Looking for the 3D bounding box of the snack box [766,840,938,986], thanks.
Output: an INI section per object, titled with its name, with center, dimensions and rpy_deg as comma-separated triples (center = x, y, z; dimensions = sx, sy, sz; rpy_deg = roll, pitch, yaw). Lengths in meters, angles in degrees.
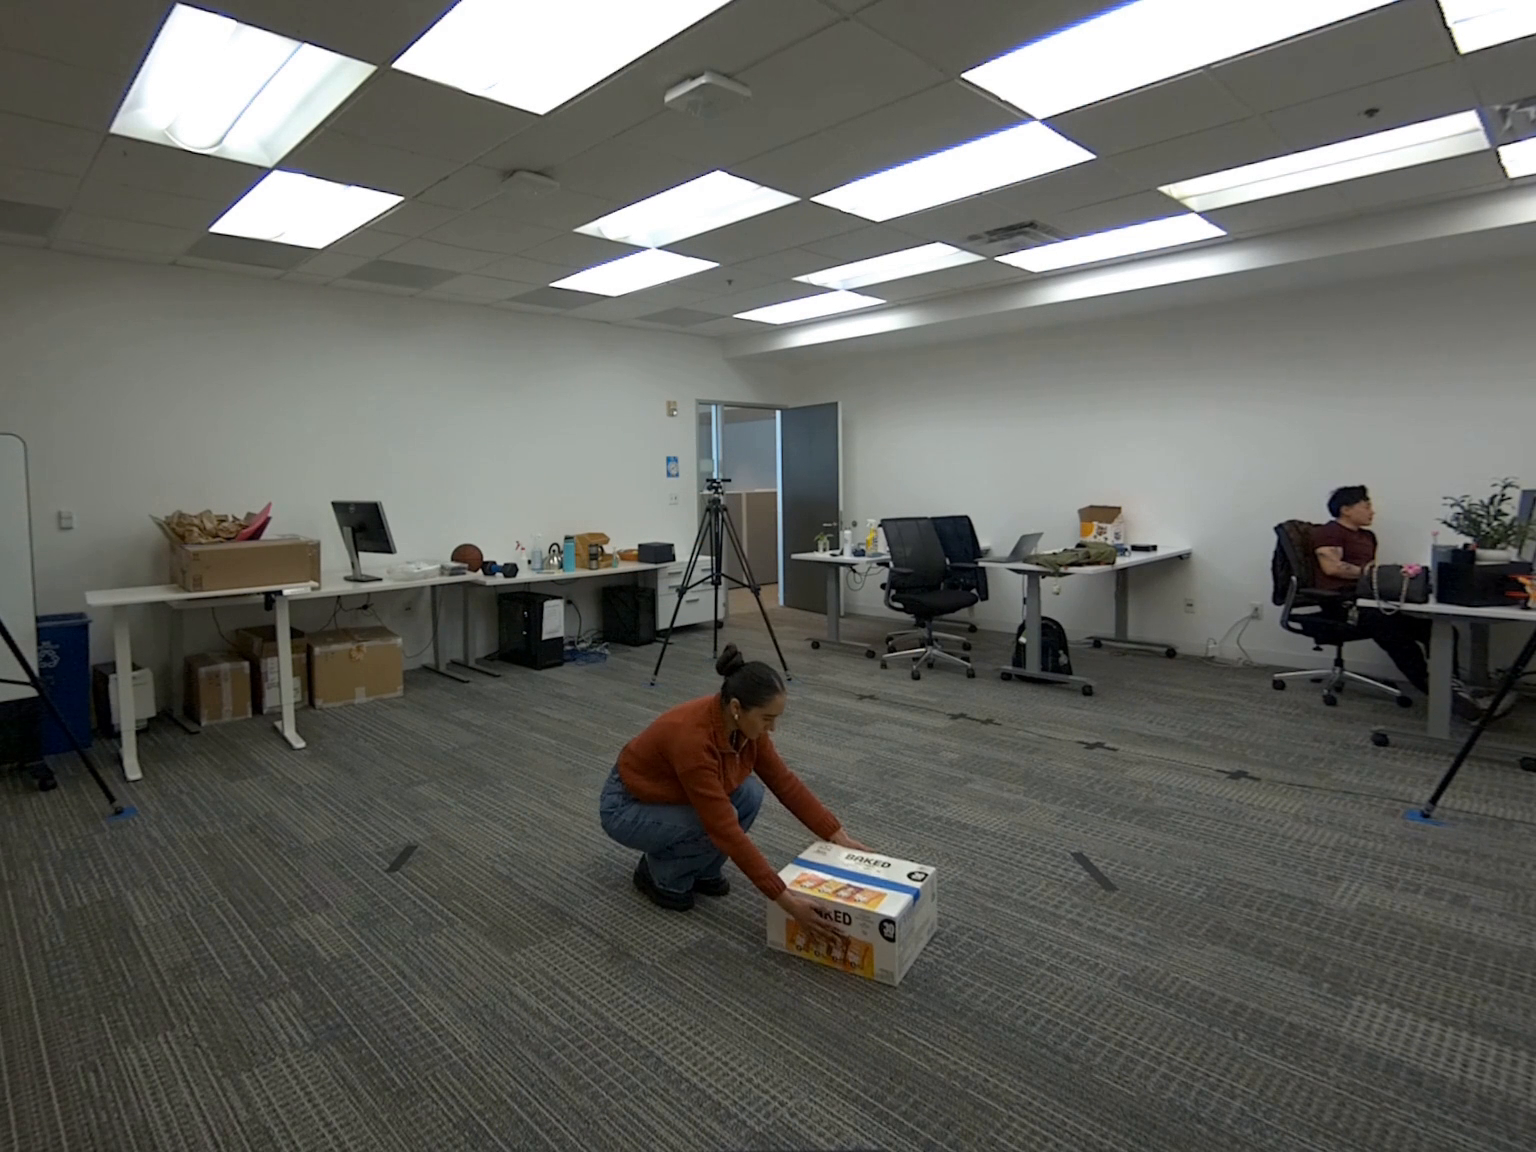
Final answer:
[snack box]
center = 0.255, 0.987, 2.572
dimensions = 0.416, 0.205, 0.333
rpy_deg = 2, 7, 31
